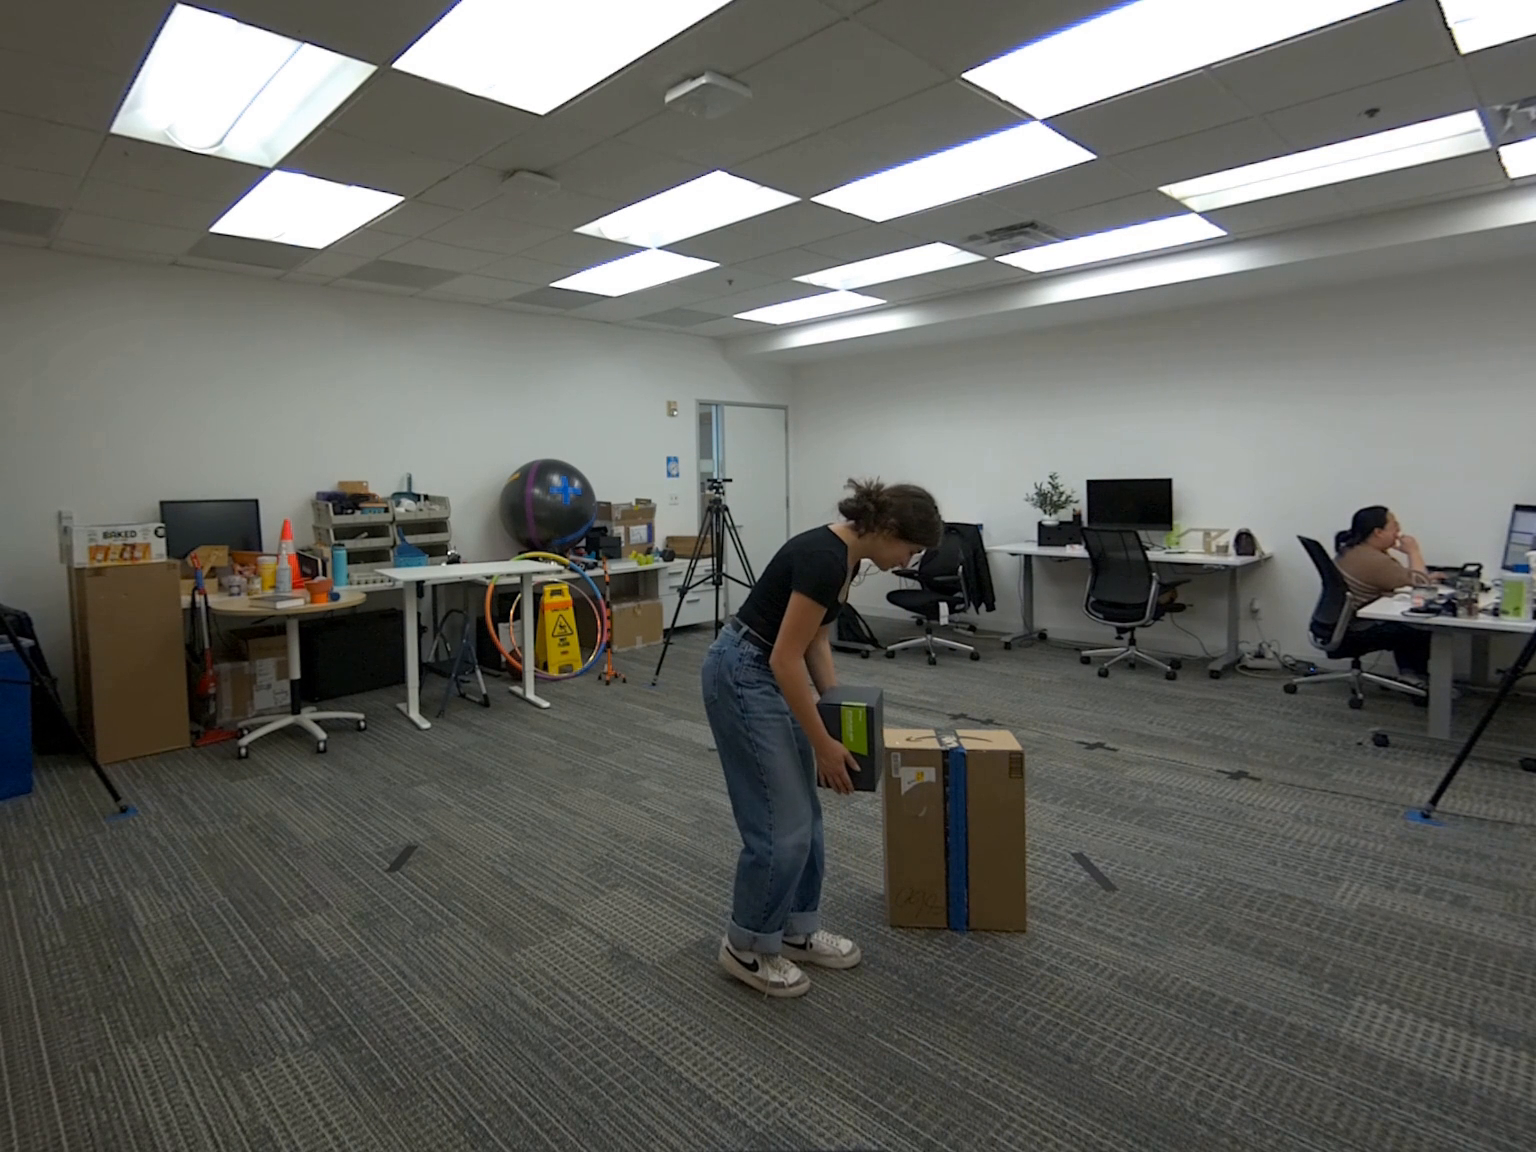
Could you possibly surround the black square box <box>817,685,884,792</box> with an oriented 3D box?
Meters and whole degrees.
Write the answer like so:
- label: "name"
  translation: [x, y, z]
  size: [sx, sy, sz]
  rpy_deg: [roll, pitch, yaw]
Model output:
- label: "black square box"
  translation: [0.235, 0.436, 2.341]
  size: [0.158, 0.227, 0.215]
  rpy_deg: [0, 5, 13]
